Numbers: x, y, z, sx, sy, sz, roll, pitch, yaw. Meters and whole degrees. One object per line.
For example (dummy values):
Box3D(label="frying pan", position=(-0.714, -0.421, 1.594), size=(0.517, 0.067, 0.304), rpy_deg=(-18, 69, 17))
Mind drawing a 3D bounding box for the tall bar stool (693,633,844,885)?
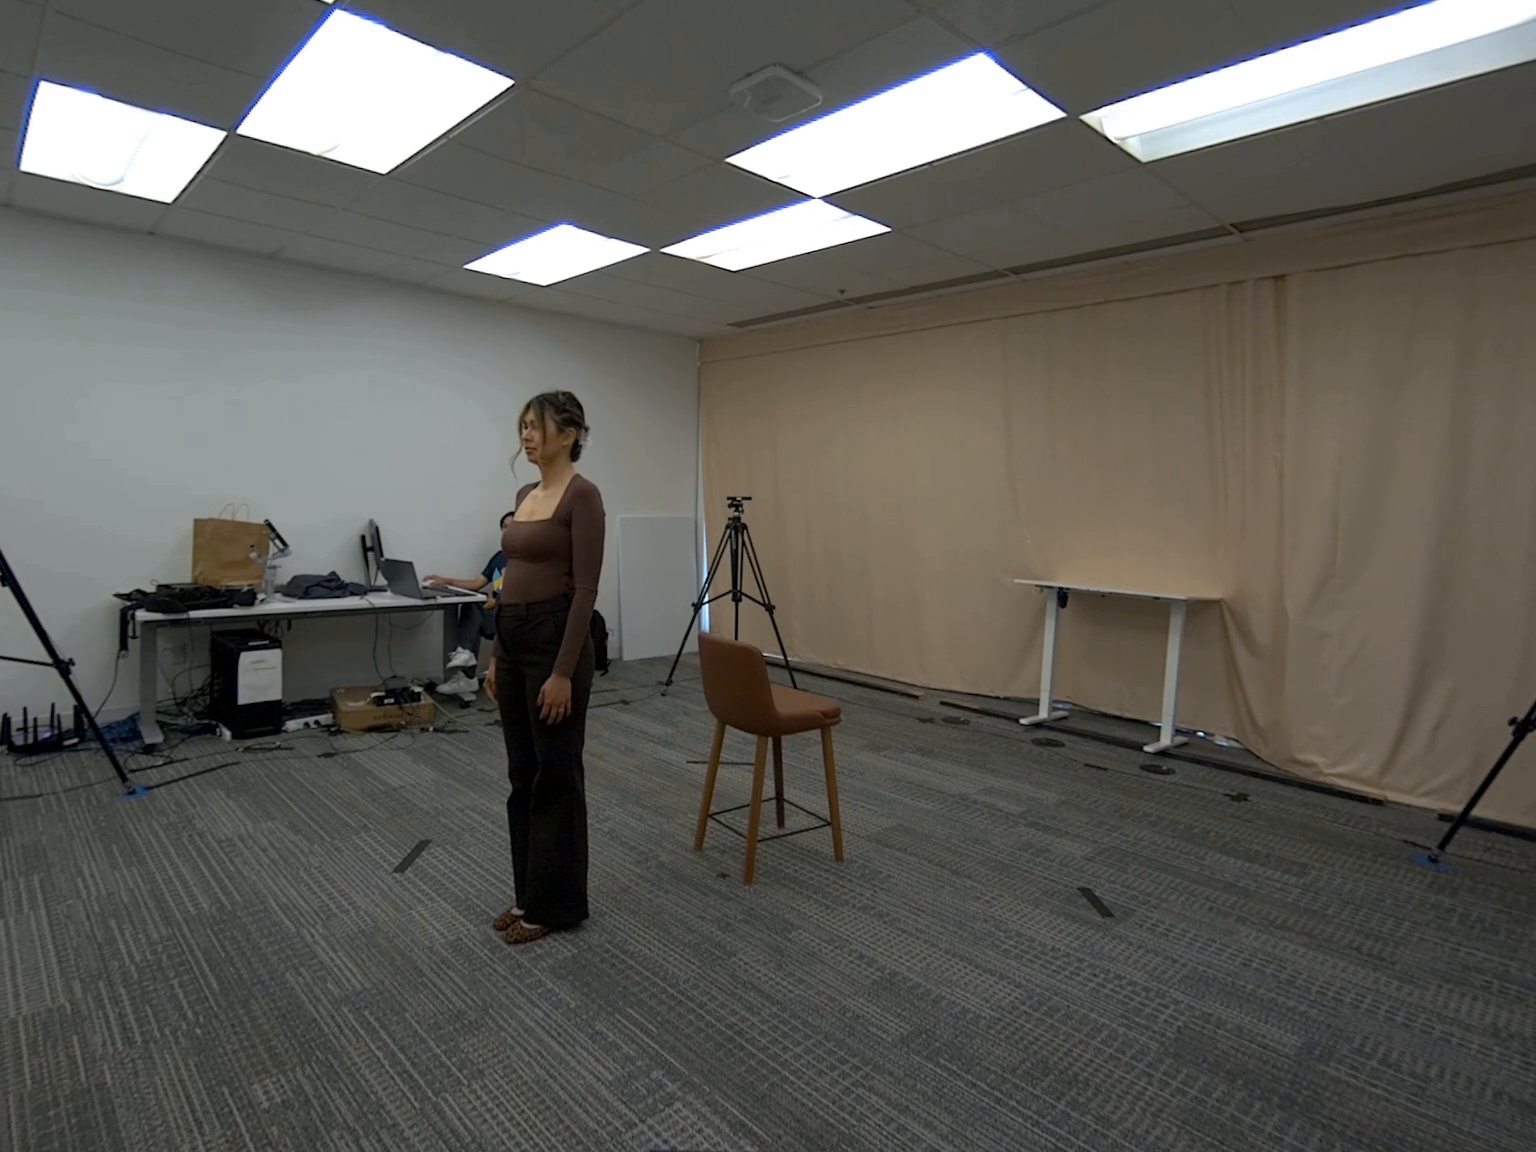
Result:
Box3D(label="tall bar stool", position=(-0.004, 0.658, 3.279), size=(0.458, 0.887, 0.467), rpy_deg=(-3, 5, -35))
